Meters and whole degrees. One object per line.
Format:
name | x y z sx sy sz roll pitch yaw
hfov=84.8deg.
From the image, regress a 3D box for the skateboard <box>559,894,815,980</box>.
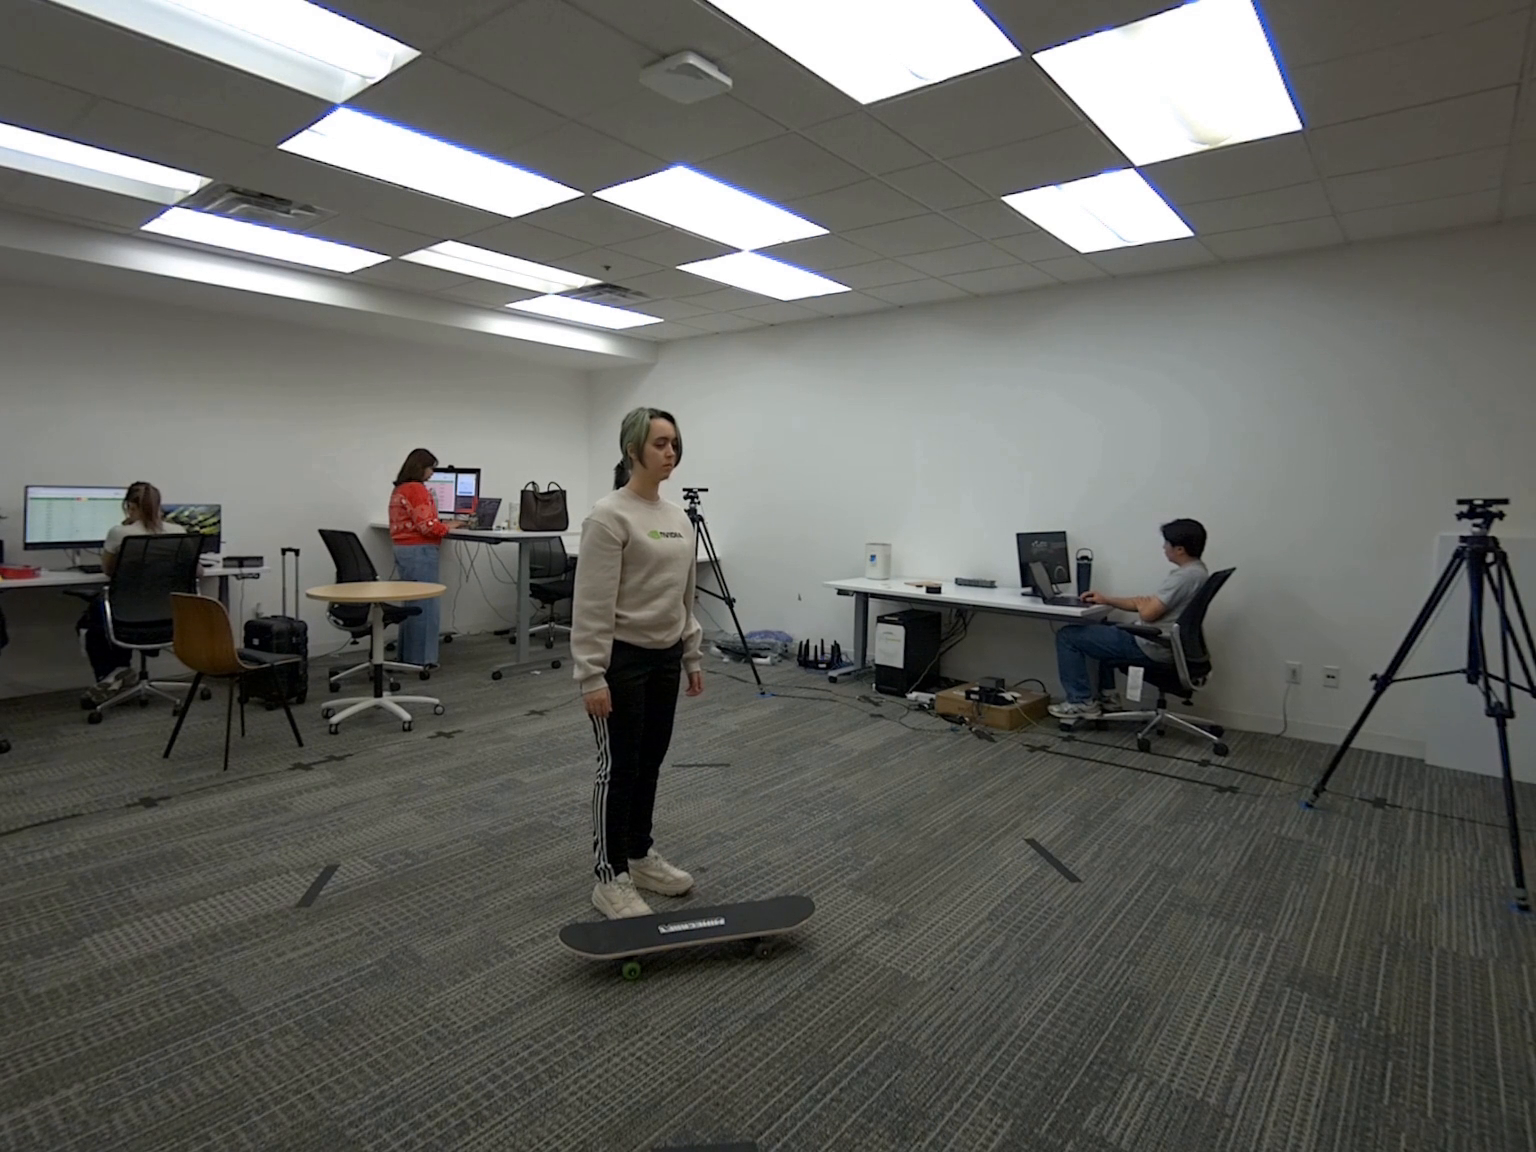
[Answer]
skateboard | -0.227 1.068 2.531 0.771 0.110 0.198 -1 6 -18
